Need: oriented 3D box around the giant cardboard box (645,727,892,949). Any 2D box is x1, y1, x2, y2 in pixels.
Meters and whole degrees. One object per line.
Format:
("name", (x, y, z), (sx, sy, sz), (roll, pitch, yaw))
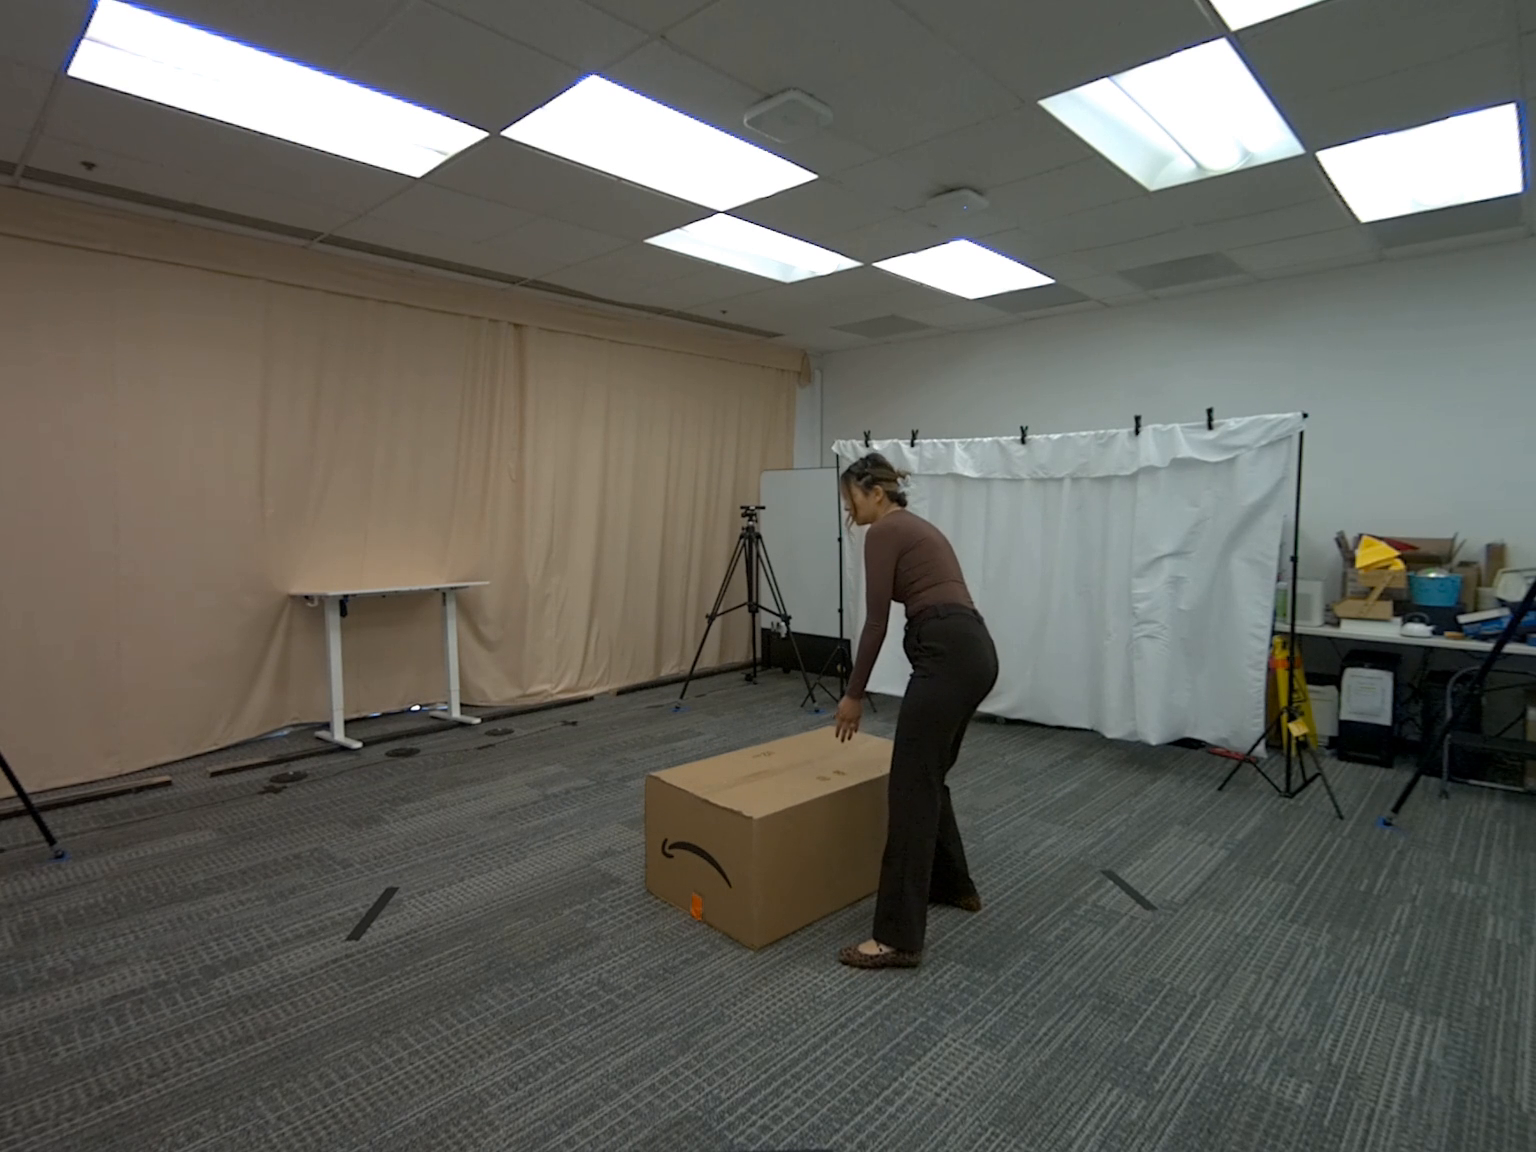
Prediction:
("giant cardboard box", (0.117, 0.919, 3.171), (0.995, 0.446, 0.603), (-3, 4, -43))
